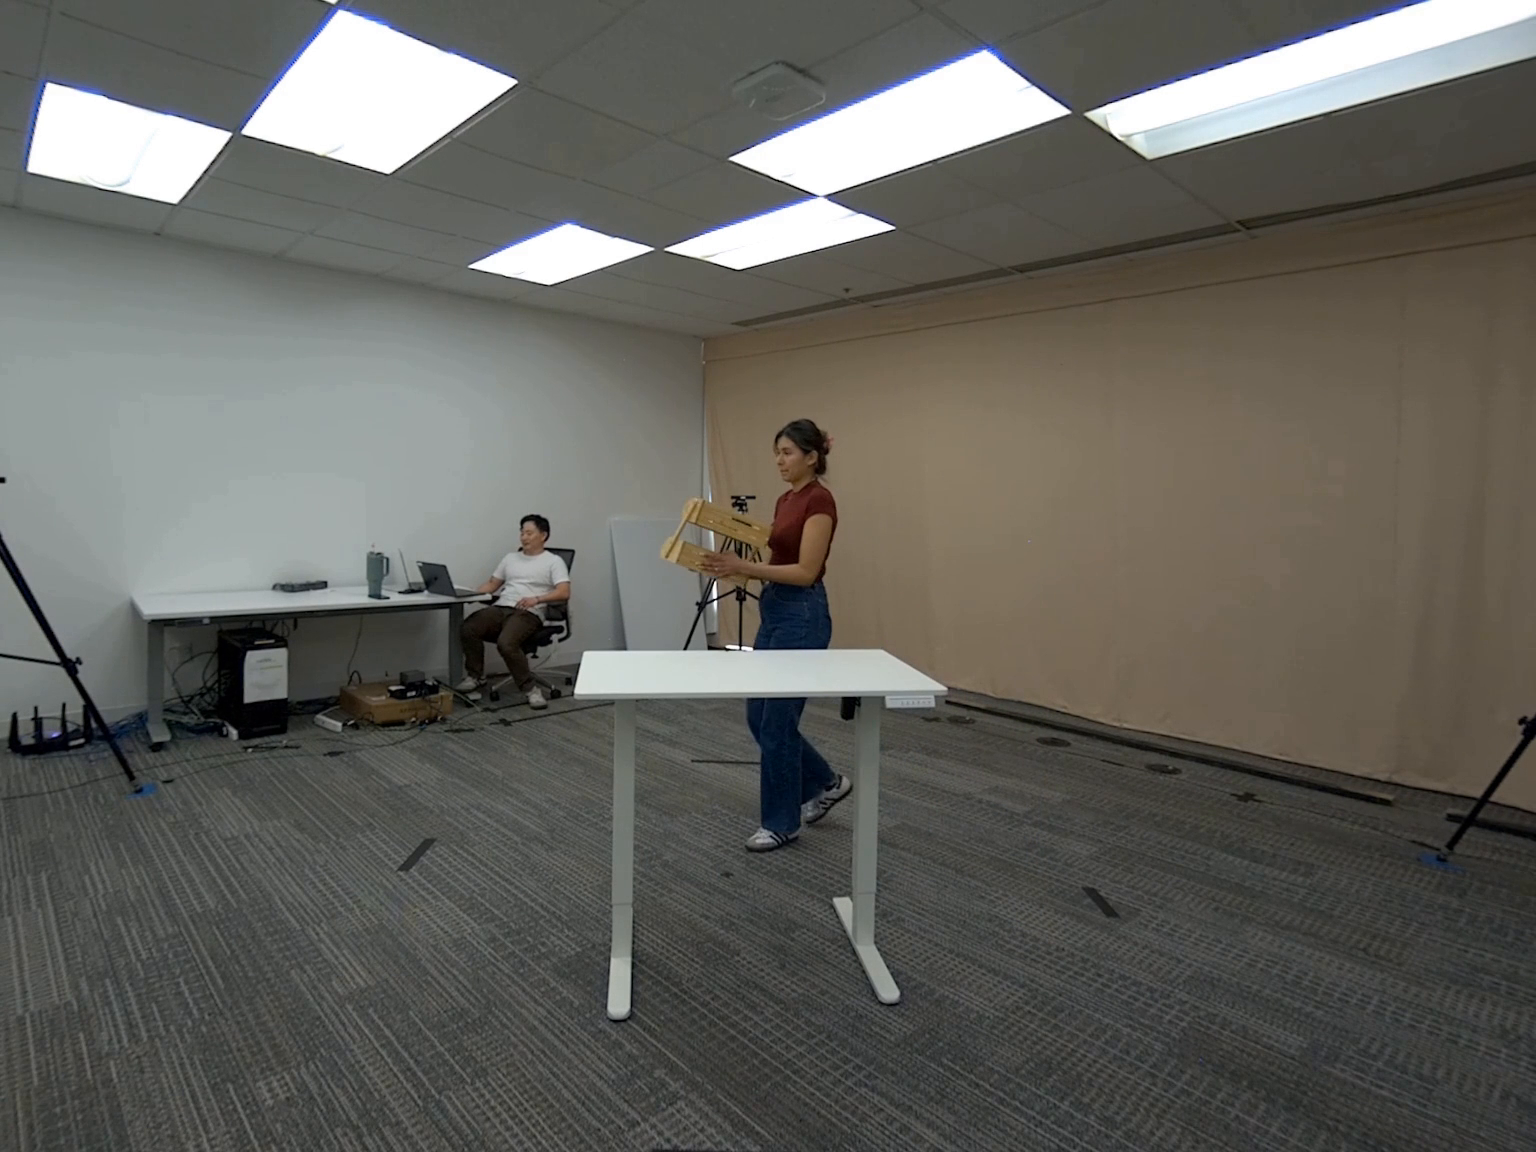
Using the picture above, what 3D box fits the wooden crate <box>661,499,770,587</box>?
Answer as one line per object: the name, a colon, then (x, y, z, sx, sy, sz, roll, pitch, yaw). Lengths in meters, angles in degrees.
wooden crate: (-0.213, -0.134, 3.294, 0.317, 0.273, 0.308, 20, -1, -25)
